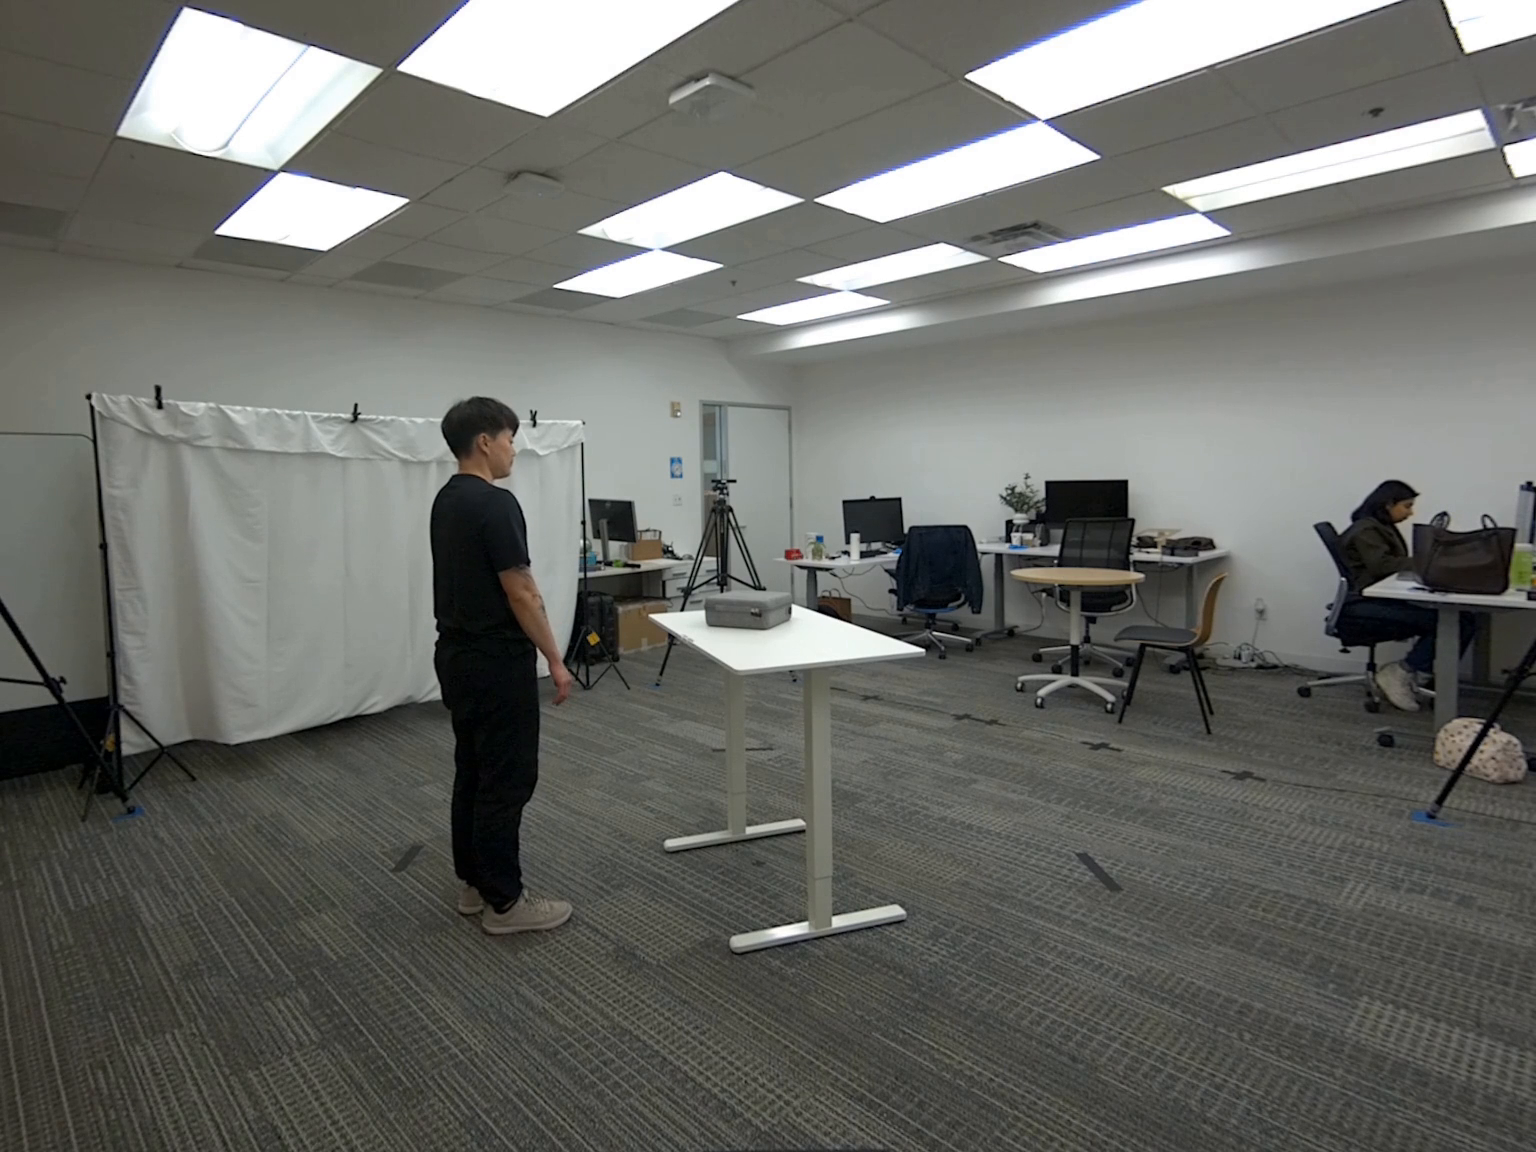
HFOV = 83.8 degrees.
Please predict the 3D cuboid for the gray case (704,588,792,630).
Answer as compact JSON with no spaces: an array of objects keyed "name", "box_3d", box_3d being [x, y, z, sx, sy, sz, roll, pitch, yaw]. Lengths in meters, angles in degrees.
[{"name":"gray case","box_3d":[-0.066,0.114,3.065,0.263,0.104,0.256,1,6,25]}]
